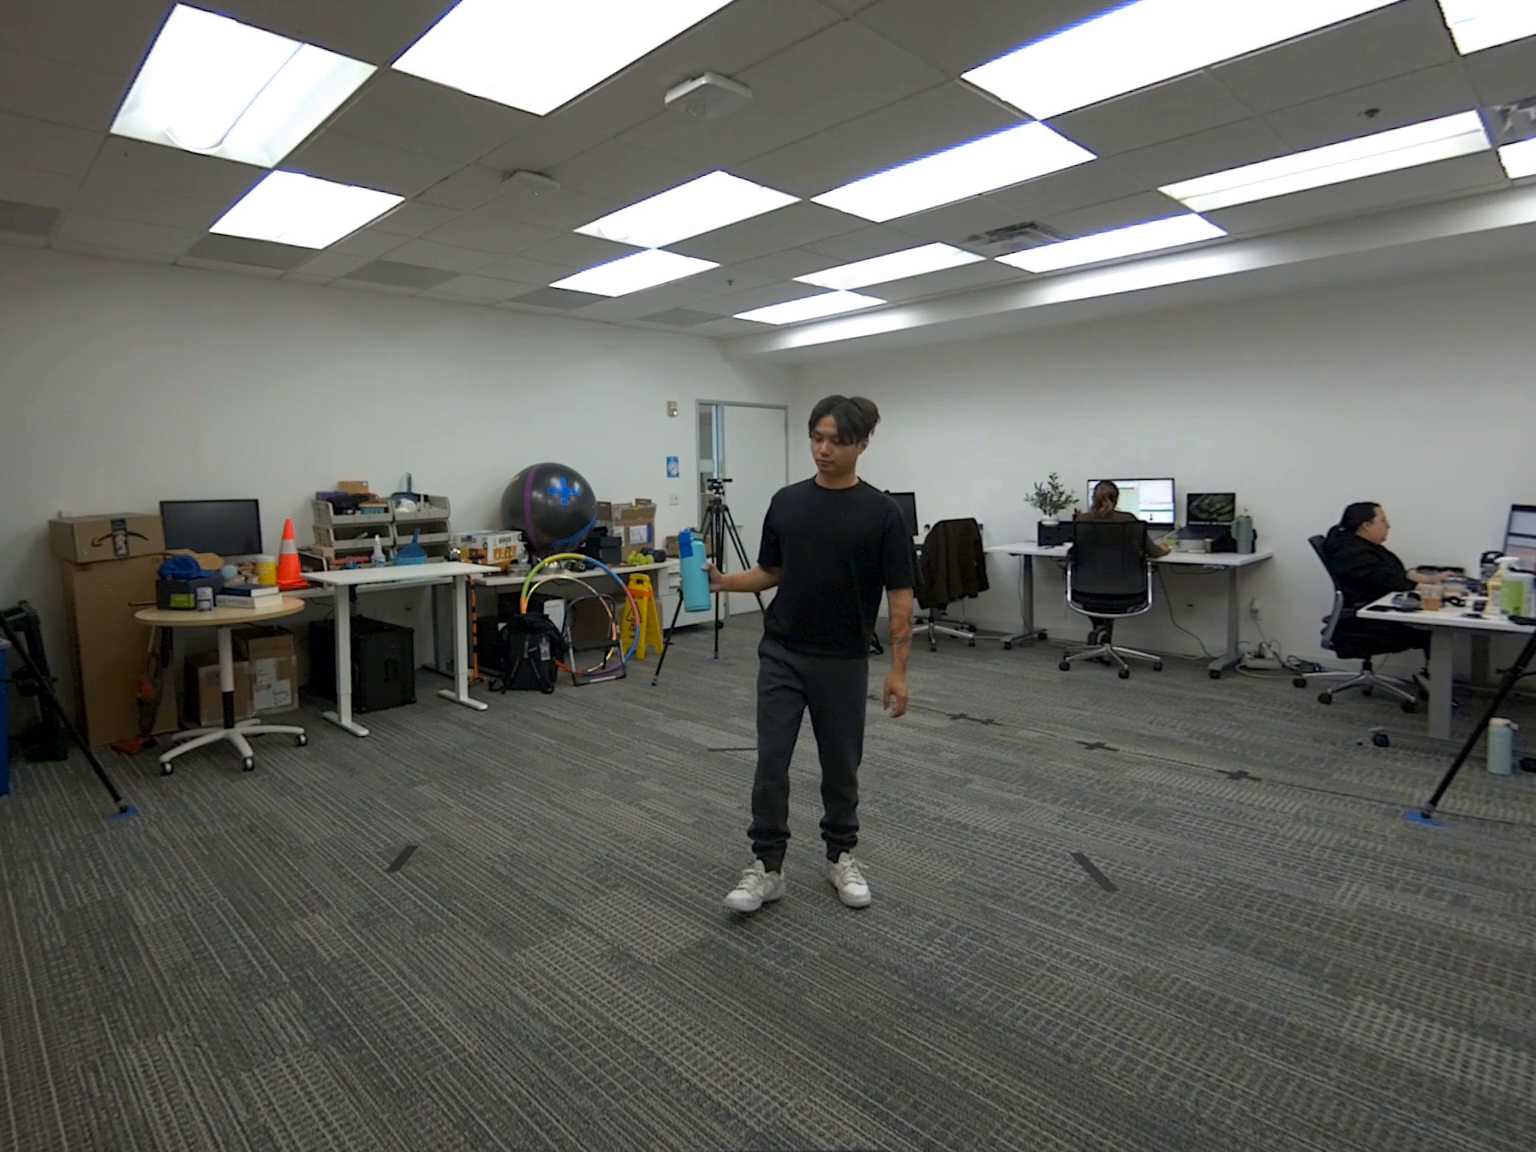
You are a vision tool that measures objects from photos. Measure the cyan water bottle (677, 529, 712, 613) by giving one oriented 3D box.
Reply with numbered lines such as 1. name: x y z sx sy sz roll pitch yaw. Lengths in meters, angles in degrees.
1. cyan water bottle: -0.243 -0.025 2.827 0.092 0.286 0.091 -8 -9 -3
